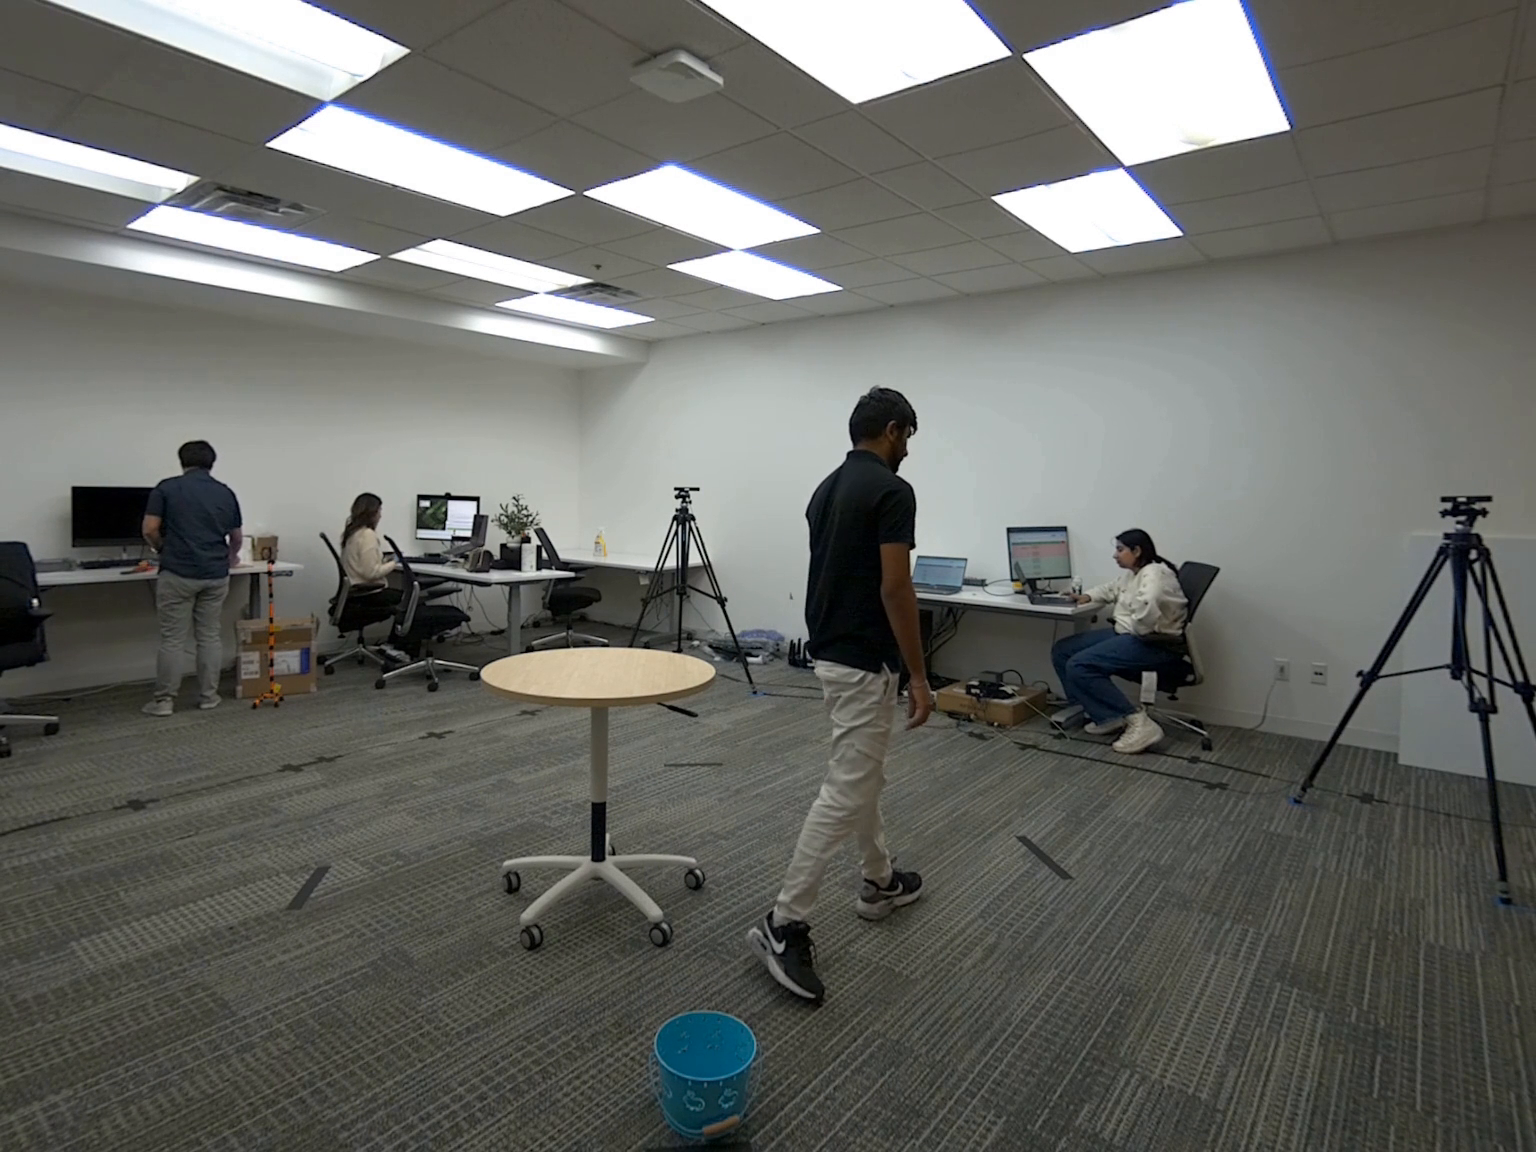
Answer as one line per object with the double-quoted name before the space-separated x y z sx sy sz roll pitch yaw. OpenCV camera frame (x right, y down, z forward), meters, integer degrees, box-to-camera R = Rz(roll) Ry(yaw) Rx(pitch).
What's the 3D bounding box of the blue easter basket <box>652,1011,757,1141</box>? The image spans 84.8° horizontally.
"blue easter basket" -0.150 1.114 1.900 0.243 0.155 0.245 1 5 -2
